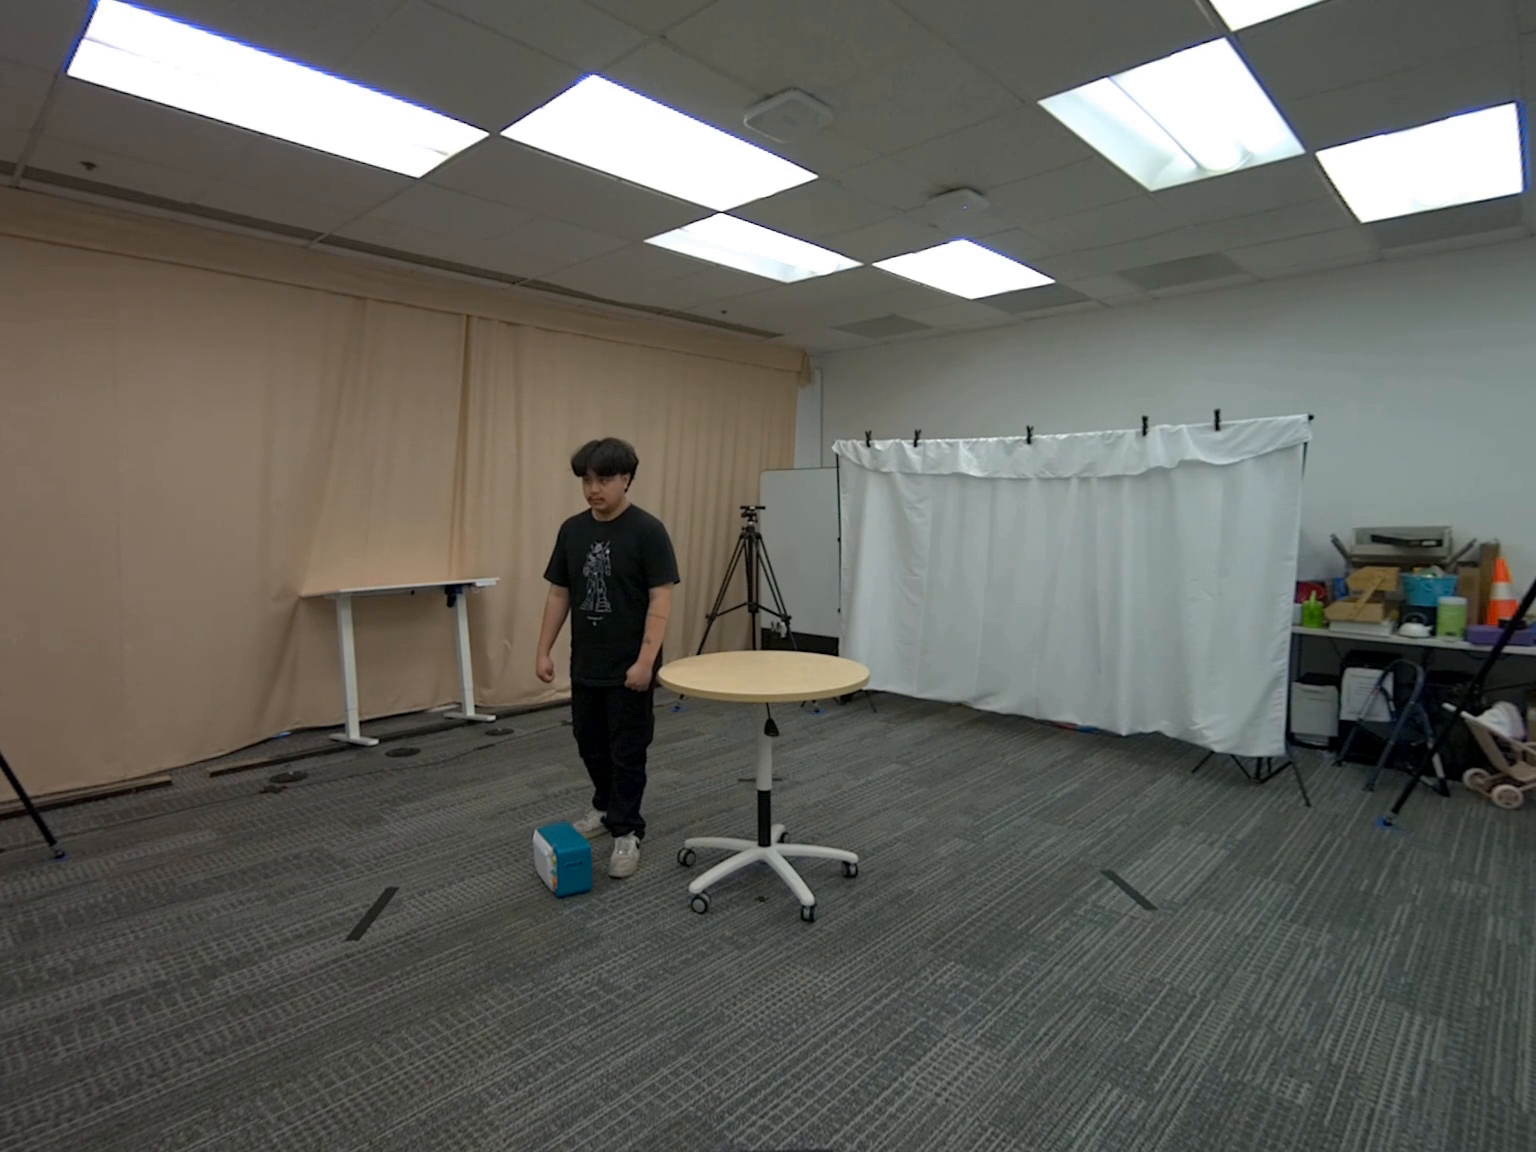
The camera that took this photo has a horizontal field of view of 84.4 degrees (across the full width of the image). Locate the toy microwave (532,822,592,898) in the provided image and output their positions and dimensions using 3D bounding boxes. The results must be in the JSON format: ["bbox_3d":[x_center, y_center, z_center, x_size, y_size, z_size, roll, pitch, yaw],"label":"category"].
[{"bbox_3d":[-0.755,1.040,3.126,0.148,0.183,0.294,-4,6,-30],"label":"toy microwave"}]
